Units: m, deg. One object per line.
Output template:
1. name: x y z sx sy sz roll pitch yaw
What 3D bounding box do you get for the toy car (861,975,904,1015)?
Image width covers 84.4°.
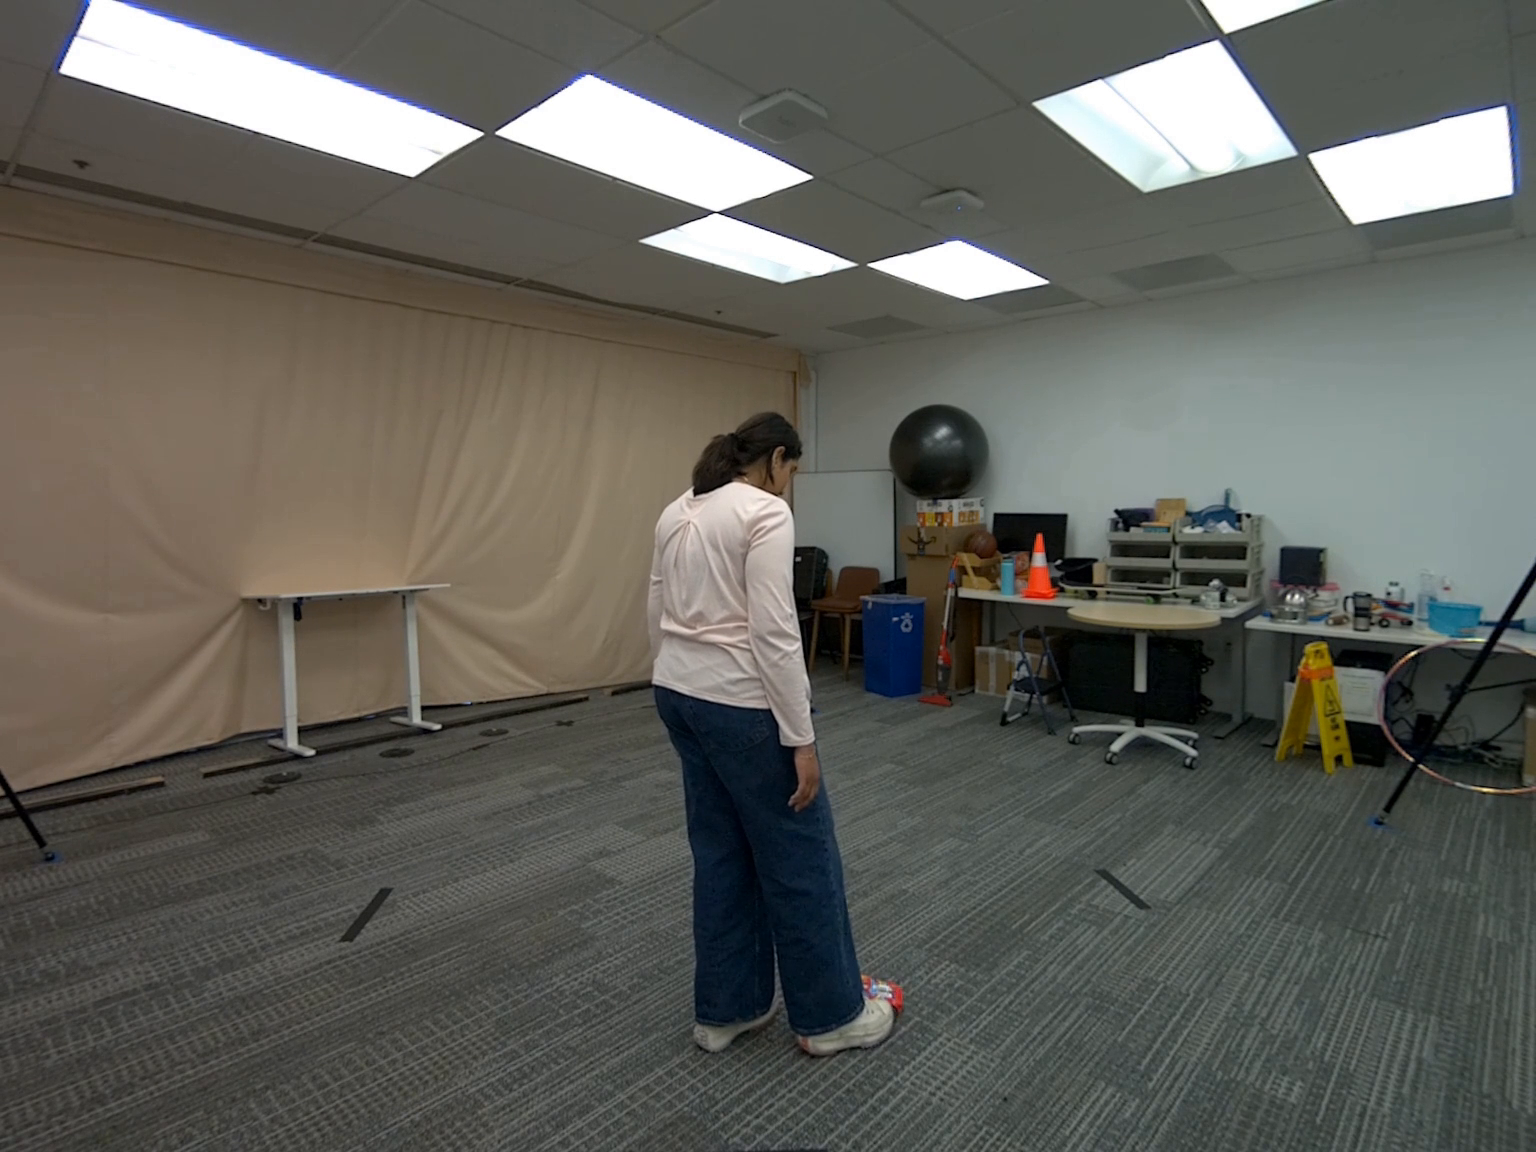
1. toy car: 0.251 1.168 2.341 0.258 0.083 0.129 12 6 11
